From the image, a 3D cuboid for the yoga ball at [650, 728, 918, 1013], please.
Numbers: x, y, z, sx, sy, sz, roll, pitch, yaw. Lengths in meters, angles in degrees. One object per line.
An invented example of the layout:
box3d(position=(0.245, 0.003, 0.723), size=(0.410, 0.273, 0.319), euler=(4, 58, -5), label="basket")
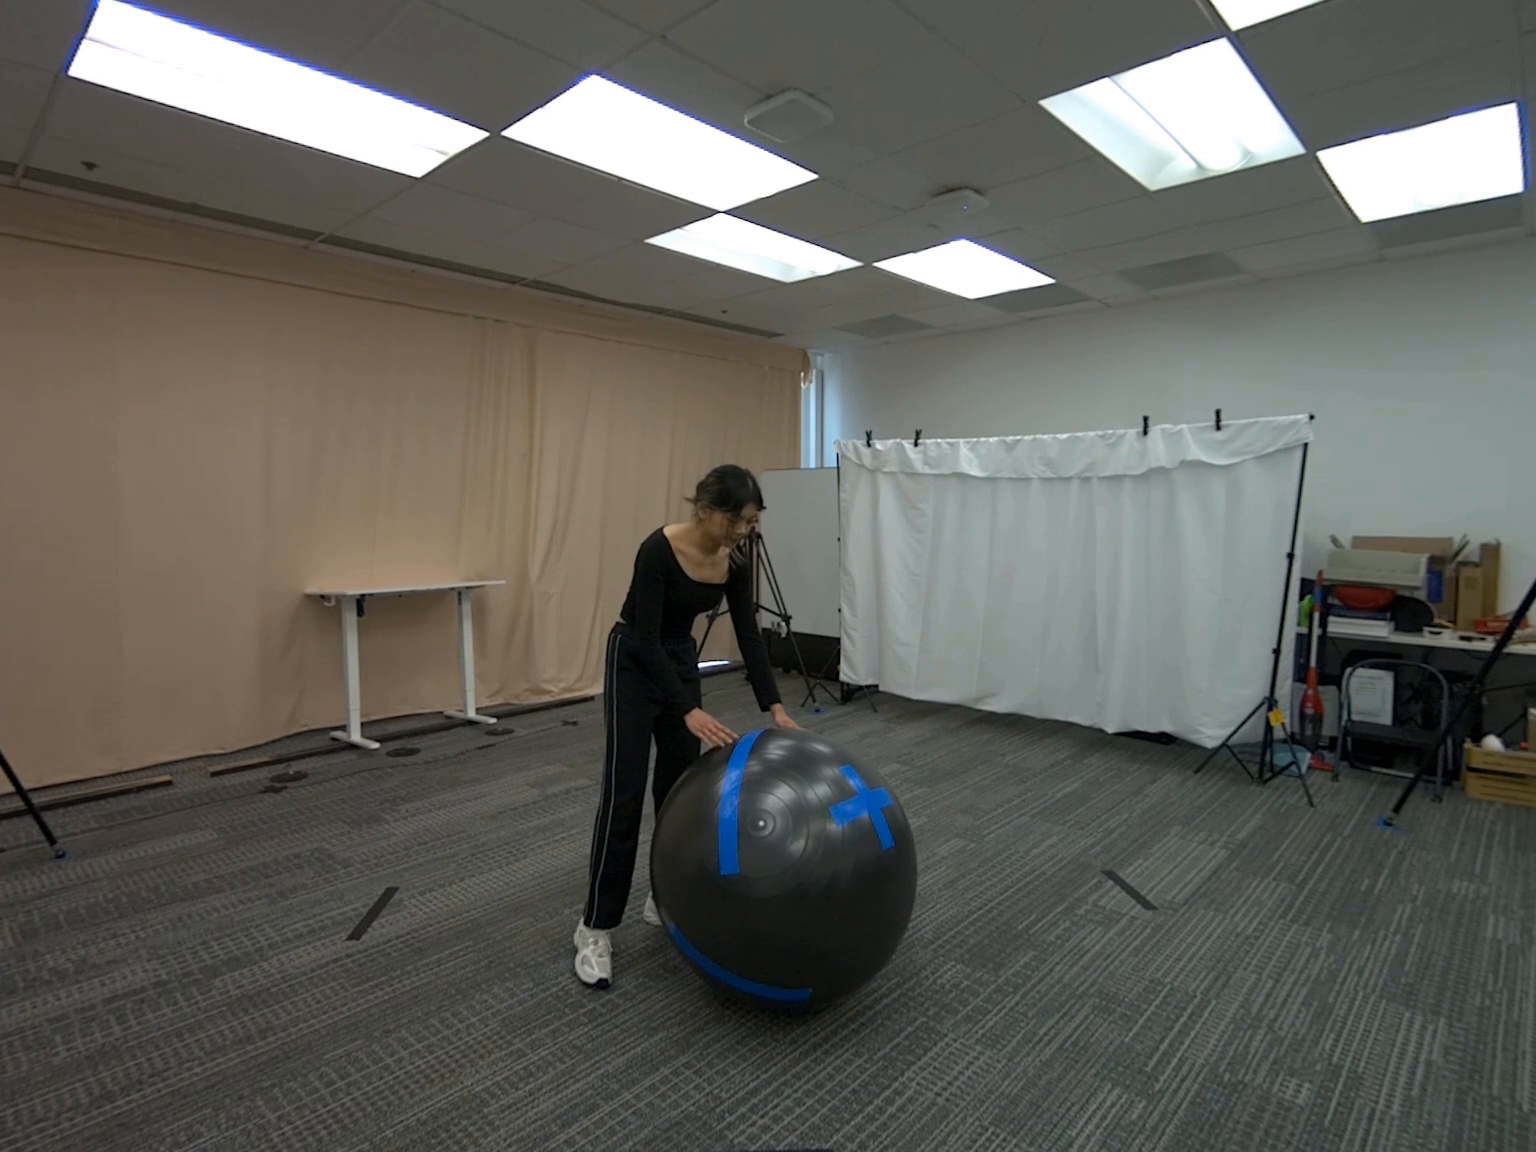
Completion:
box3d(position=(0.053, 0.827, 2.415), size=(0.757, 0.756, 0.760), euler=(0, 4, -2), label="yoga ball")
